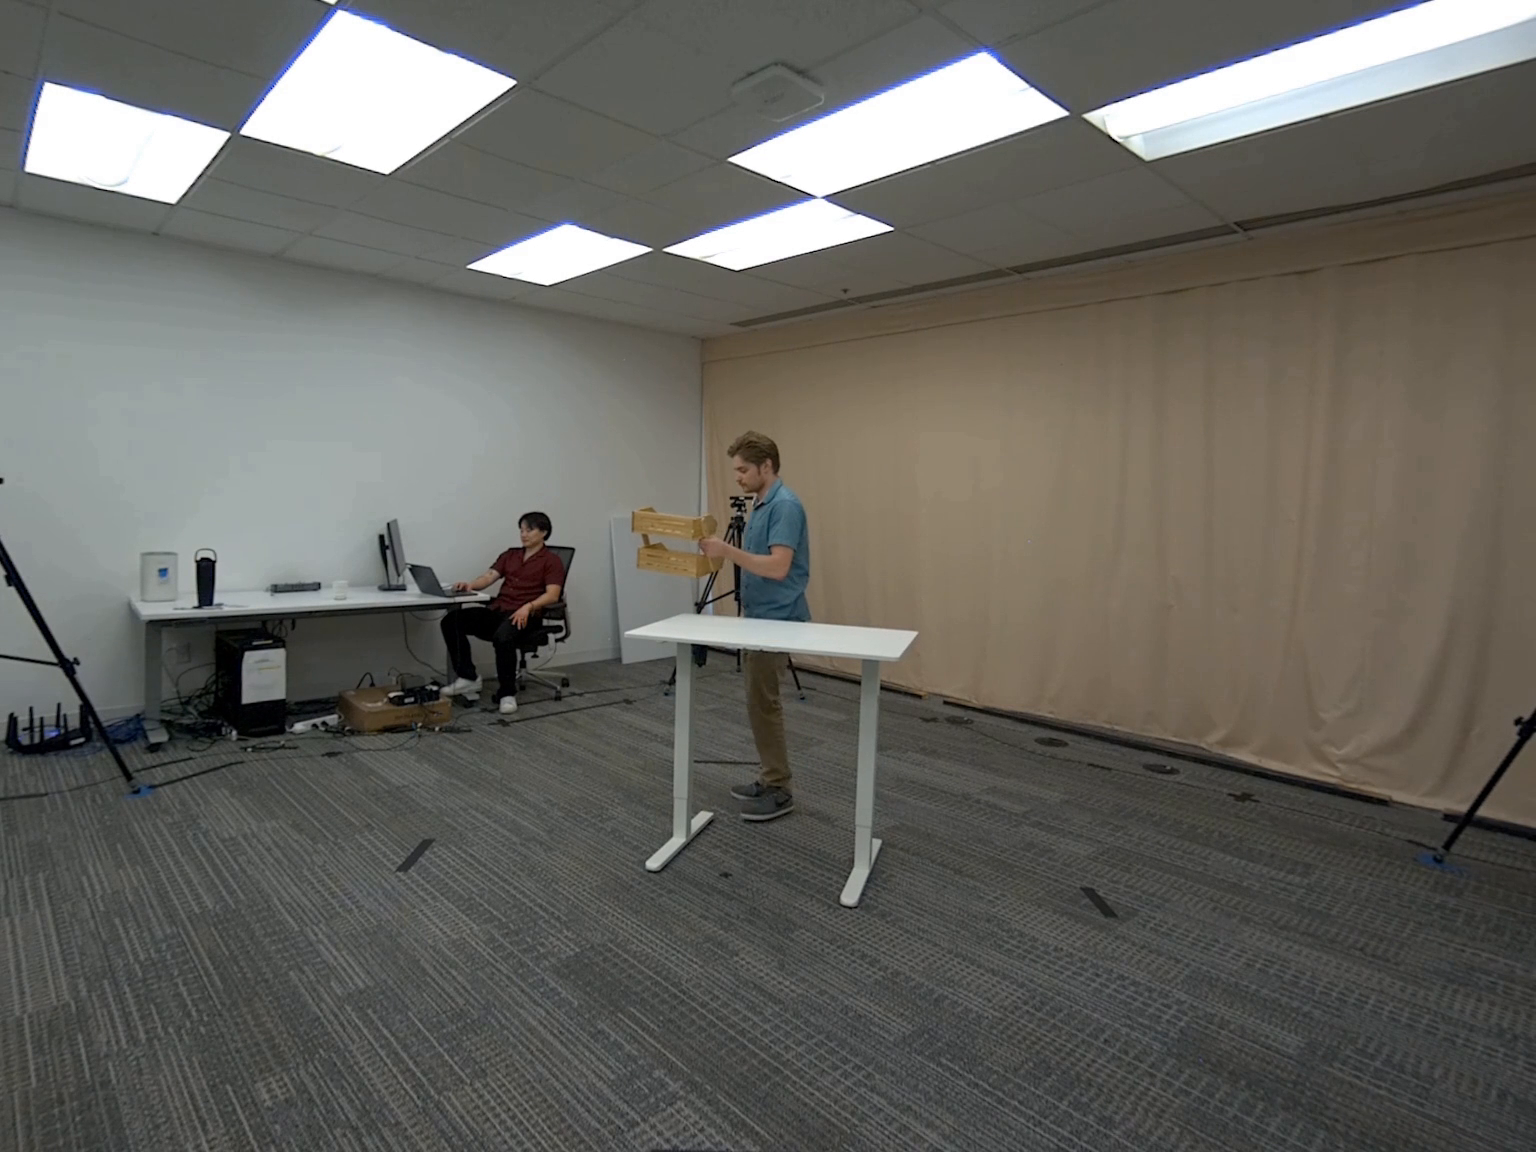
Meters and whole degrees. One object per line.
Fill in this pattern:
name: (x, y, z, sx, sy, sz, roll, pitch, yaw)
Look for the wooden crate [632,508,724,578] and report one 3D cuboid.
wooden crate: (-0.395, -0.160, 3.648, 0.331, 0.271, 0.298, 8, 13, 23)
